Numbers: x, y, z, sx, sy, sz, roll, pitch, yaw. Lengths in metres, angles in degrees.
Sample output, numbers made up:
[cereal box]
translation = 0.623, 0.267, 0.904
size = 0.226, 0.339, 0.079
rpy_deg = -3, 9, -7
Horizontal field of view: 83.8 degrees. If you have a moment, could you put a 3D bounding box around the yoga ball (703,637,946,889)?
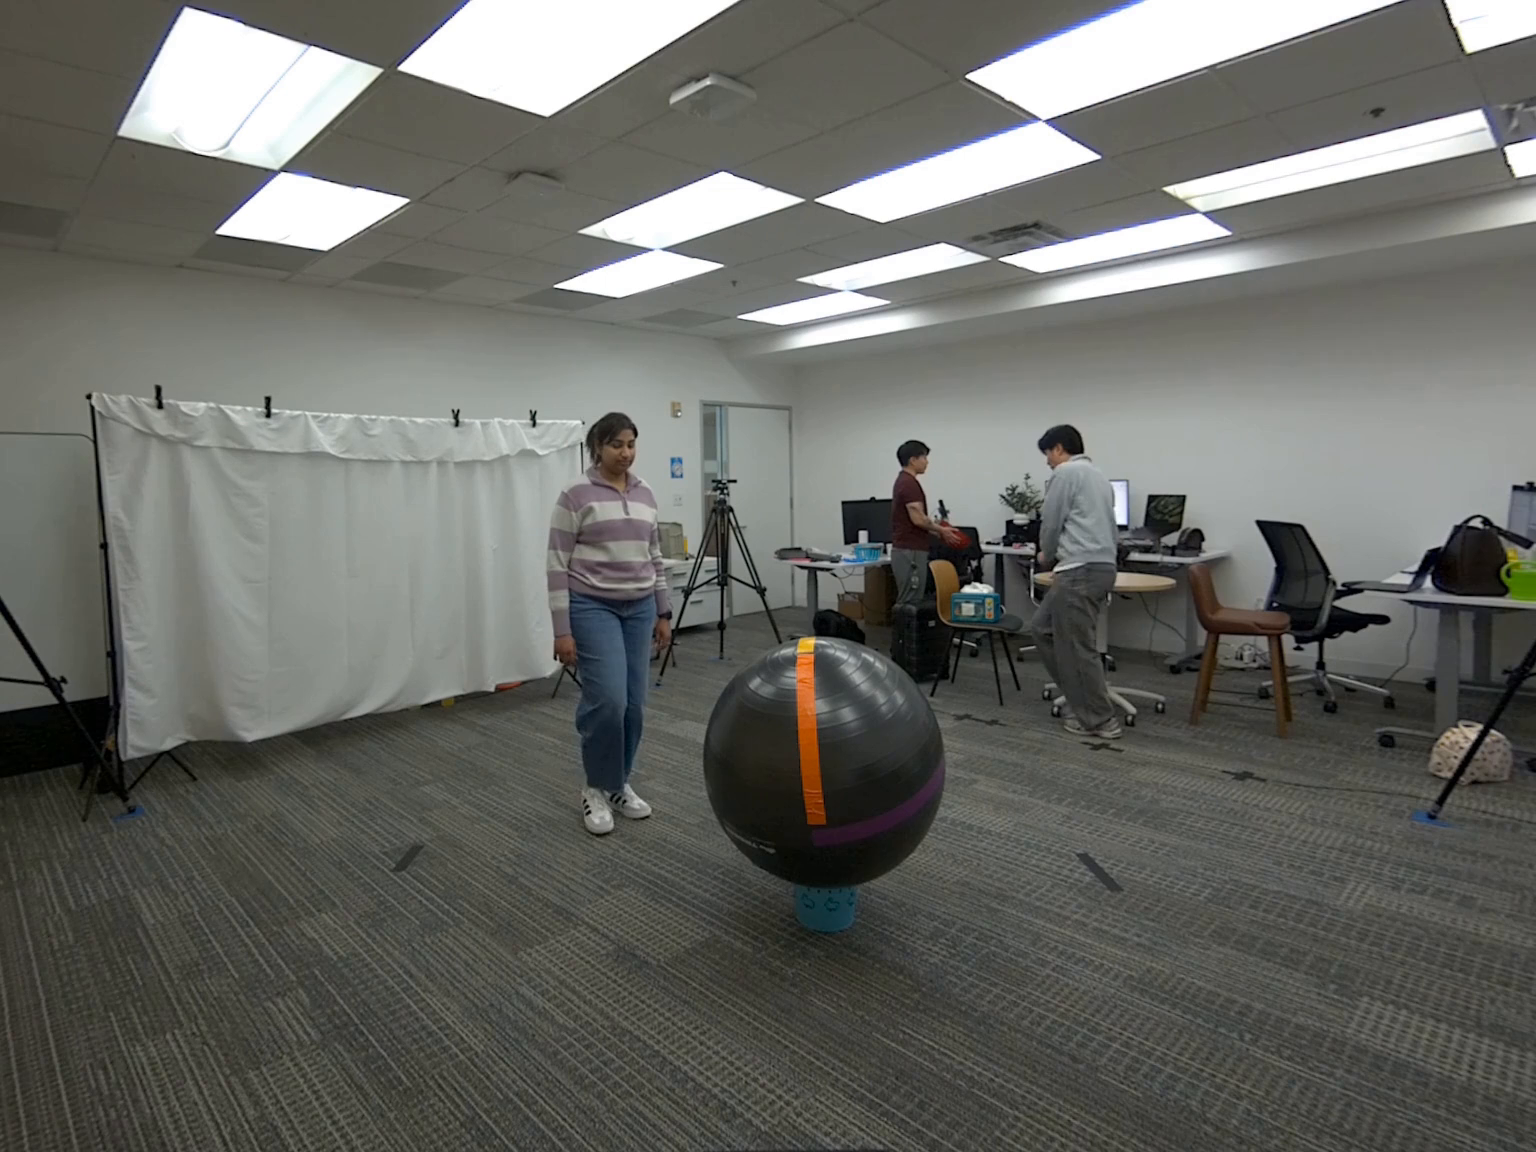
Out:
[yoga ball]
translation = 0.177, 0.583, 2.679
size = 0.757, 0.755, 0.762
rpy_deg = -1, 5, -2
